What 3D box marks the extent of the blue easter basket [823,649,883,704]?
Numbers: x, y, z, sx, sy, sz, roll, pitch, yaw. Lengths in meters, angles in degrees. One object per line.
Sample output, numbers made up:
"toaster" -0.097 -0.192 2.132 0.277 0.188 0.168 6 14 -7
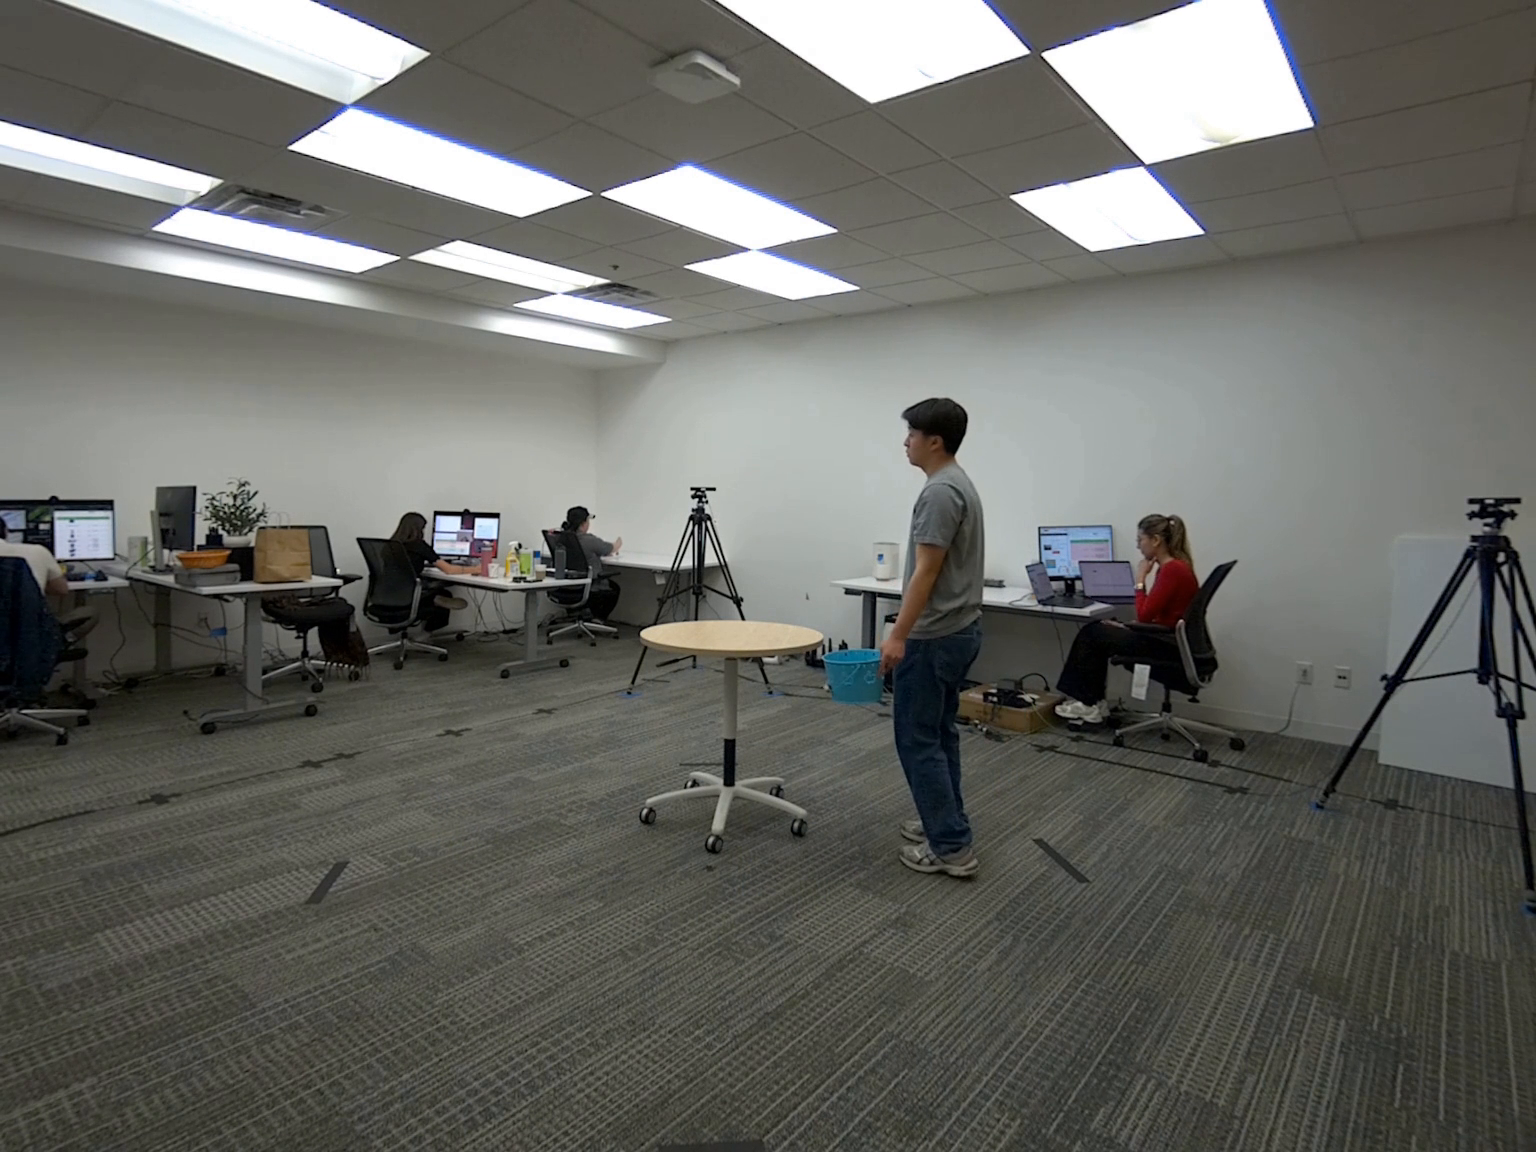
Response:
"blue easter basket" 0.321 0.366 3.073 0.243 0.155 0.245 -3 7 -1
